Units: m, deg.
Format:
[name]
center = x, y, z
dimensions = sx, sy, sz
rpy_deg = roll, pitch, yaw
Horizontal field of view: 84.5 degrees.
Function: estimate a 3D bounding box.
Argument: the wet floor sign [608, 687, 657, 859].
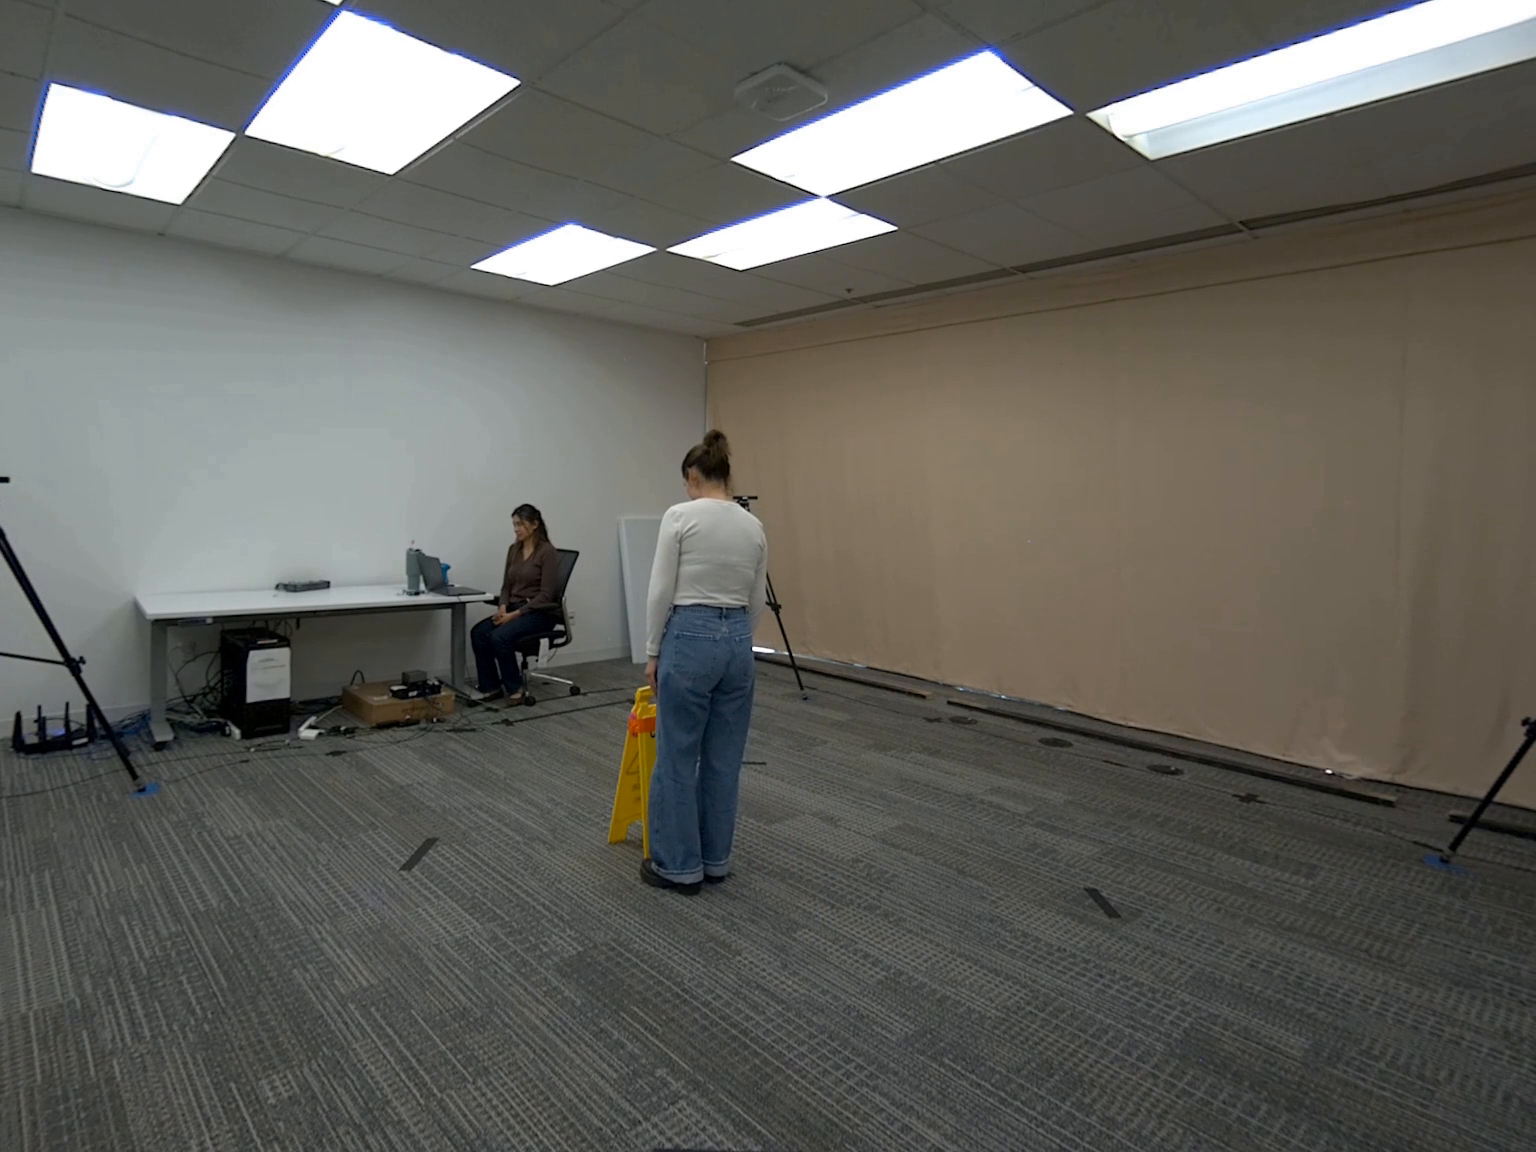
[wet floor sign]
center = -0.438, 0.752, 3.321
dimensions = 0.276, 0.644, 0.297
rpy_deg = -1, 5, -40
